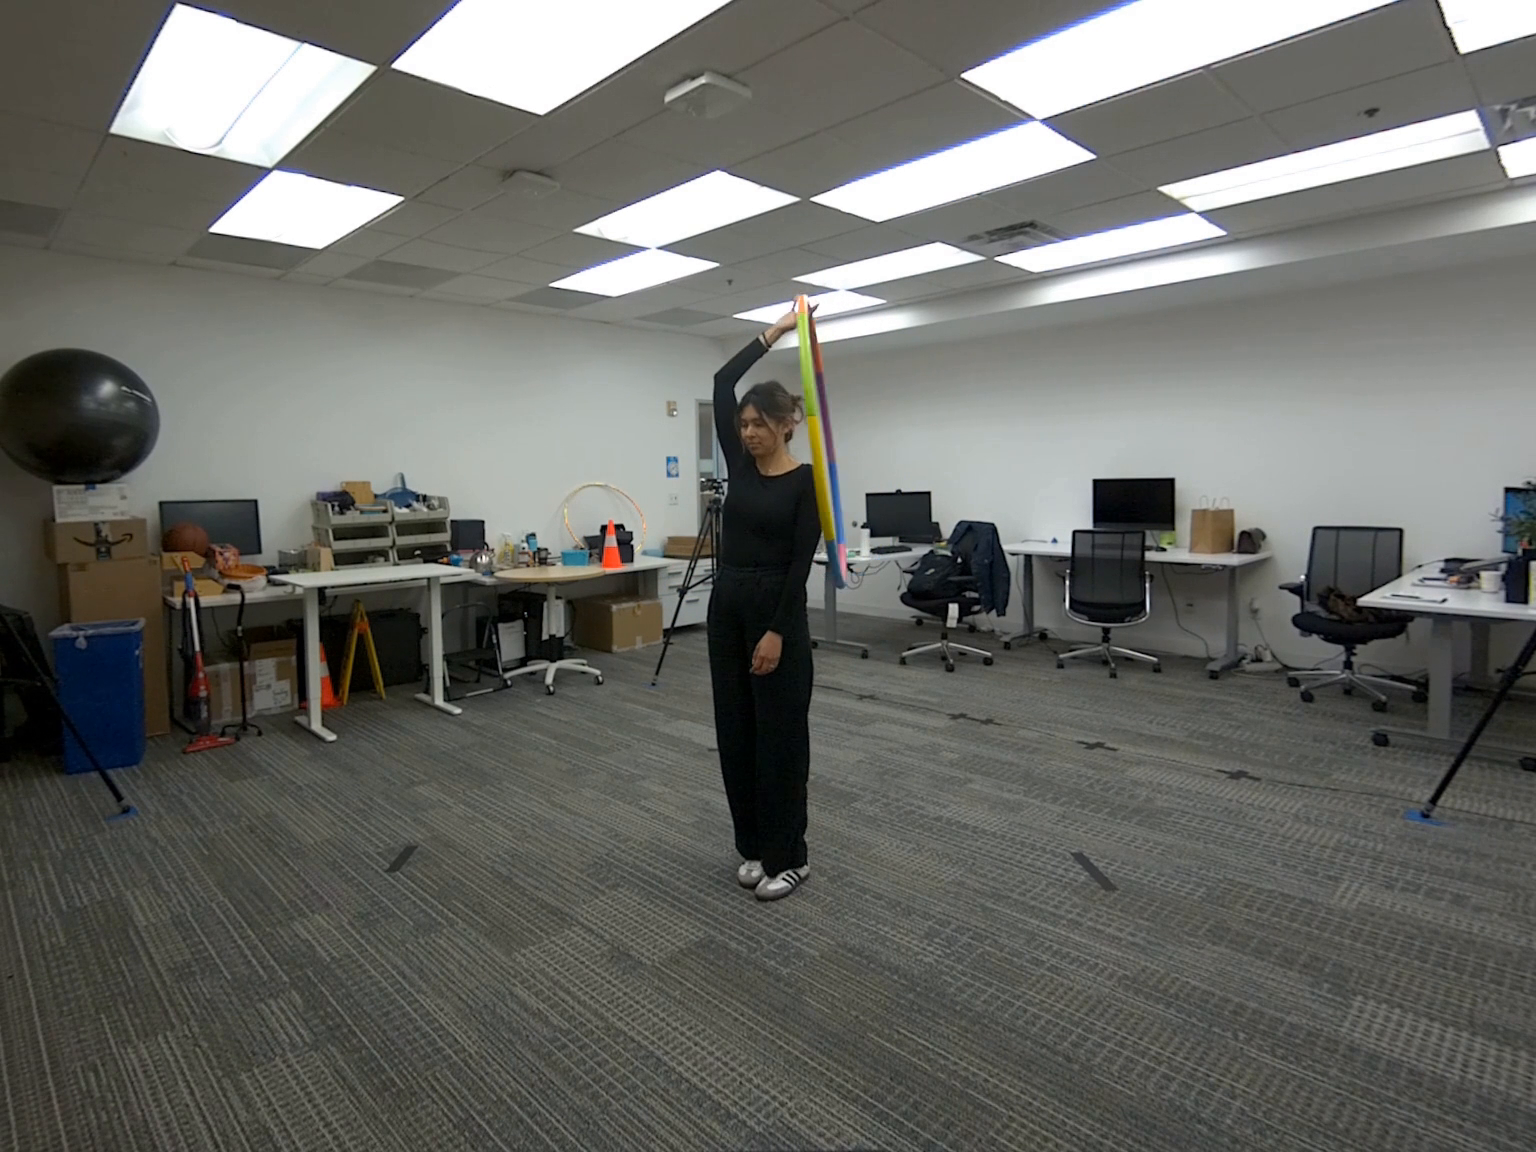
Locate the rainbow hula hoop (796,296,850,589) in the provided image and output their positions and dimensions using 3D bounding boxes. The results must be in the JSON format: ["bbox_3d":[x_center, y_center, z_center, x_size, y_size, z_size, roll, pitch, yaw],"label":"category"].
[{"bbox_3d":[0.185,-0.455,2.920,0.052,0.982,0.980,-7,4,8],"label":"rainbow hula hoop"}]
